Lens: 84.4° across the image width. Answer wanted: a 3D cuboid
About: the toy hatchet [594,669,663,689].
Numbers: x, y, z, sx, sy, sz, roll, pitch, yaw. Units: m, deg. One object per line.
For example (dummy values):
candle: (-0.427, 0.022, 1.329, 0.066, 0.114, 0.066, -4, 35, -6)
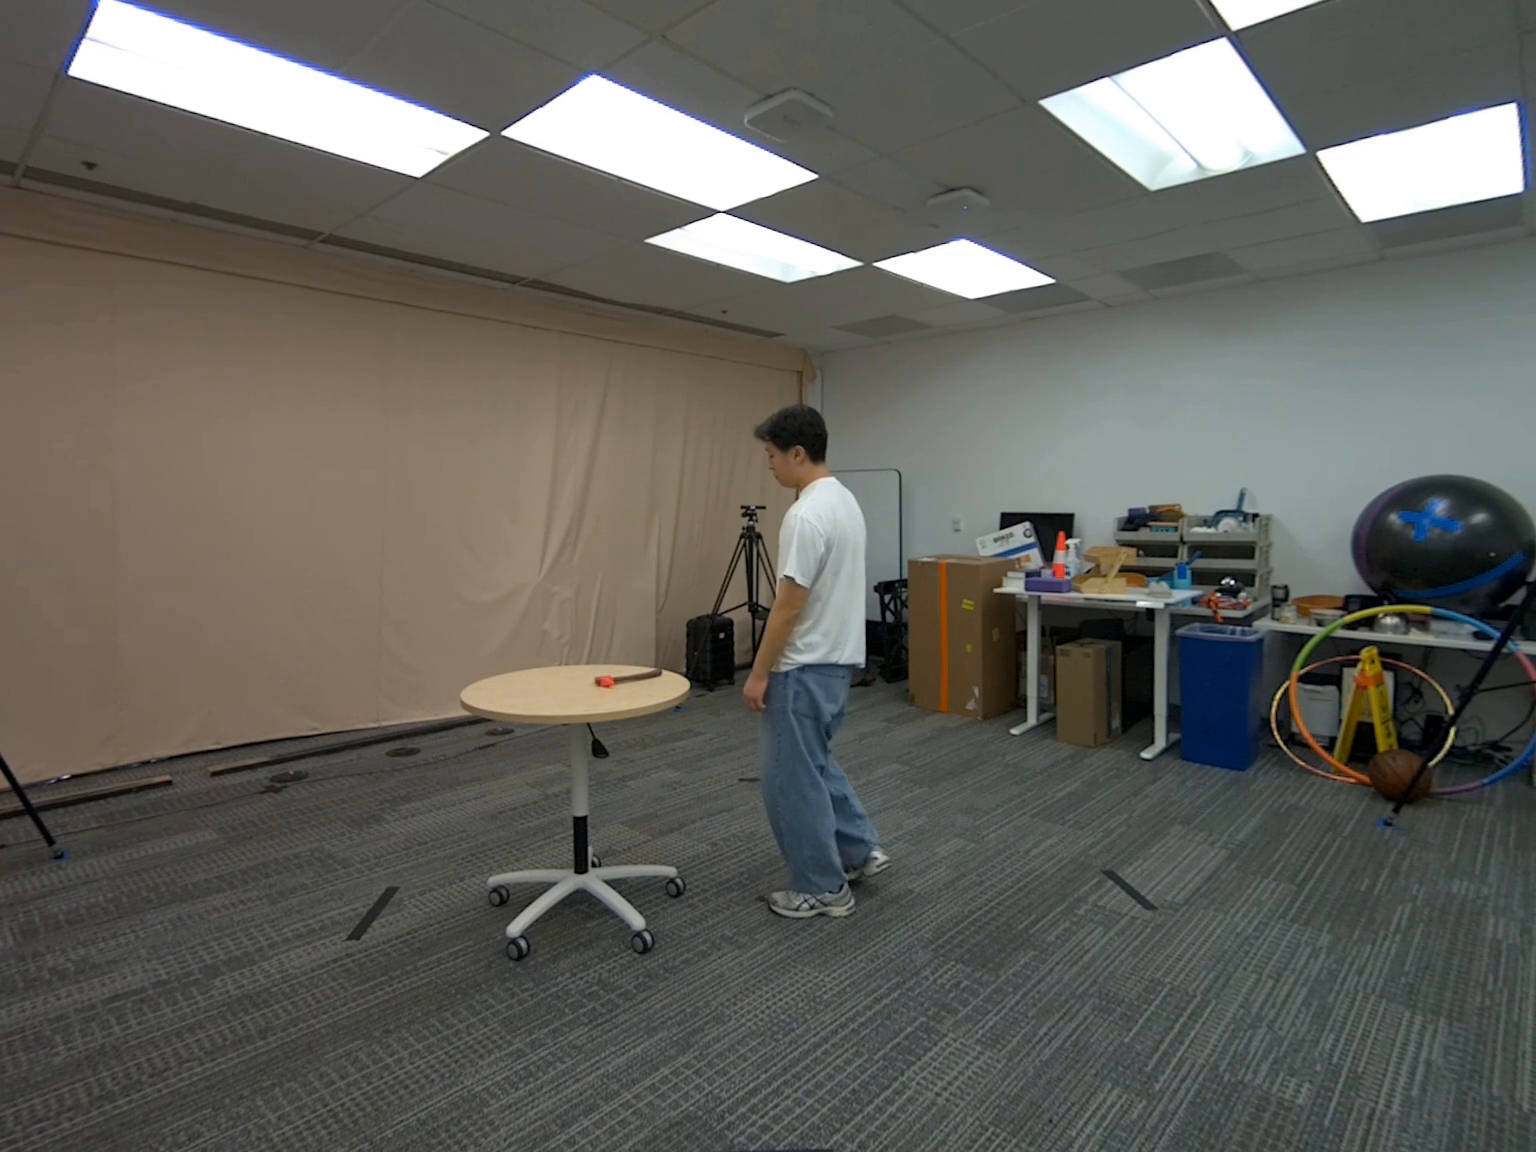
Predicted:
toy hatchet: (-0.500, 0.359, 2.958, 0.135, 0.029, 0.262, -2, 2, 35)
